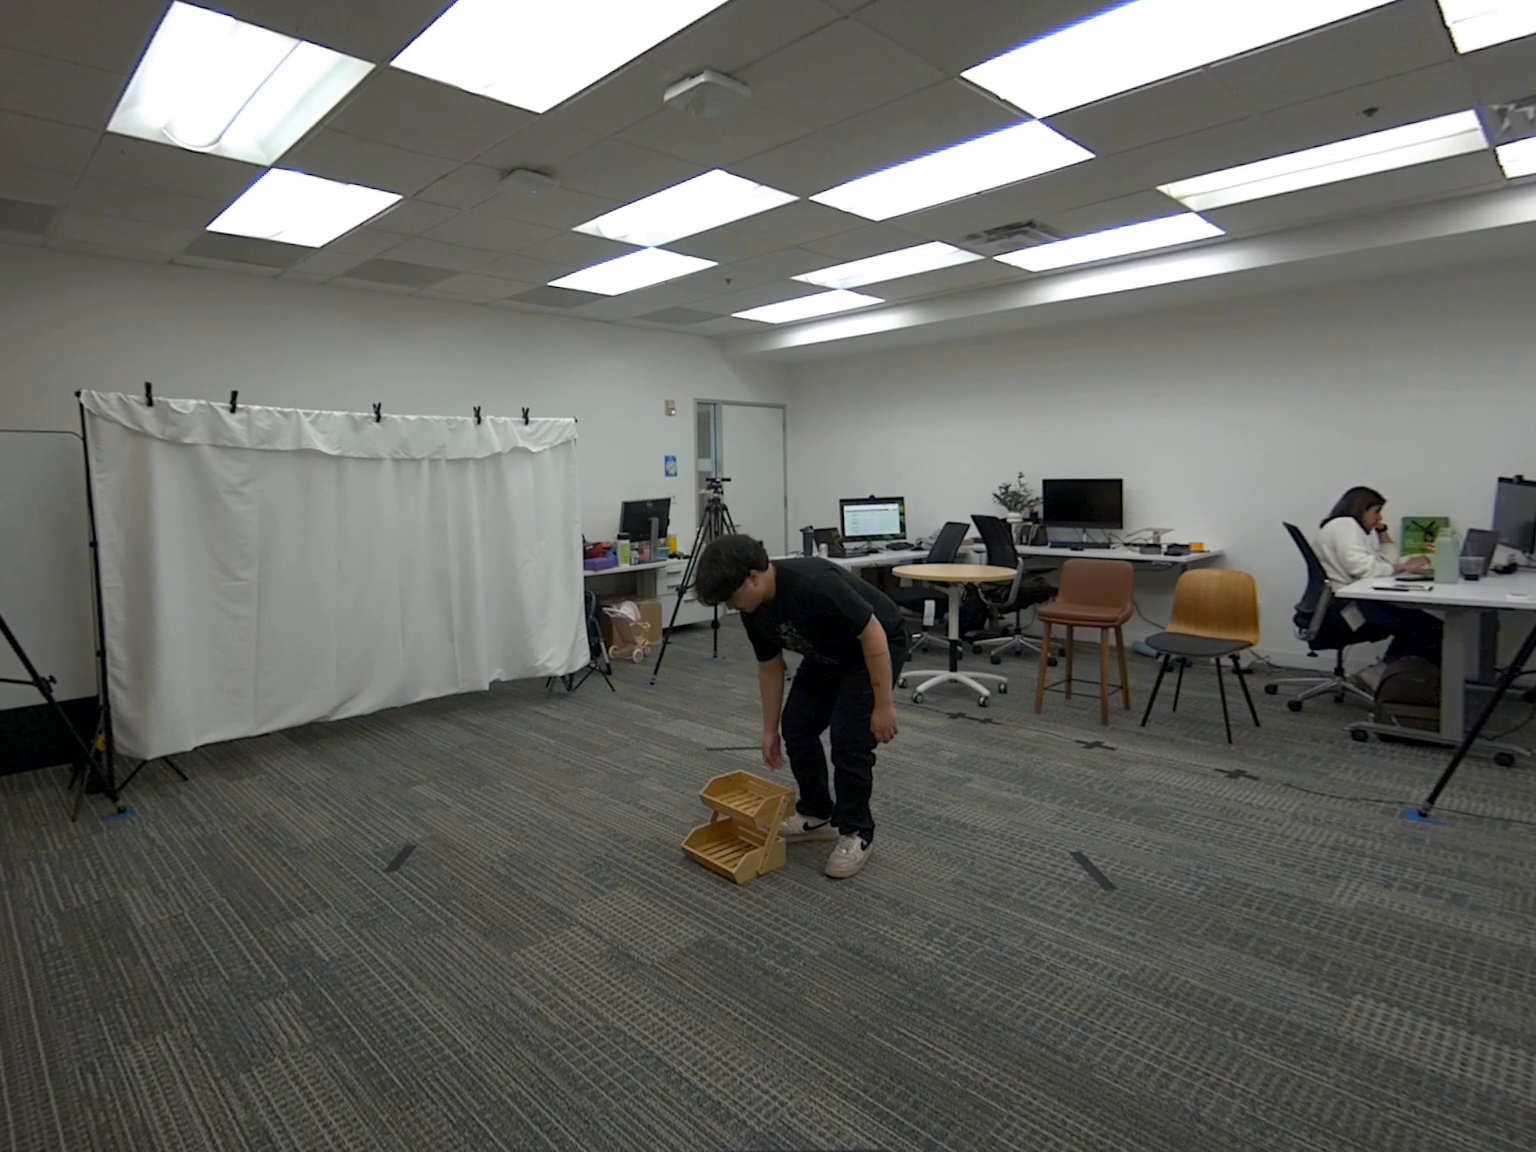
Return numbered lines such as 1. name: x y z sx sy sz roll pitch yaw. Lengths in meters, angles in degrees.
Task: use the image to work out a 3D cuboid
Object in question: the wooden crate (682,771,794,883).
1. wooden crate: -0.111 0.909 3.133 0.294 0.272 0.334 -4 5 -42
